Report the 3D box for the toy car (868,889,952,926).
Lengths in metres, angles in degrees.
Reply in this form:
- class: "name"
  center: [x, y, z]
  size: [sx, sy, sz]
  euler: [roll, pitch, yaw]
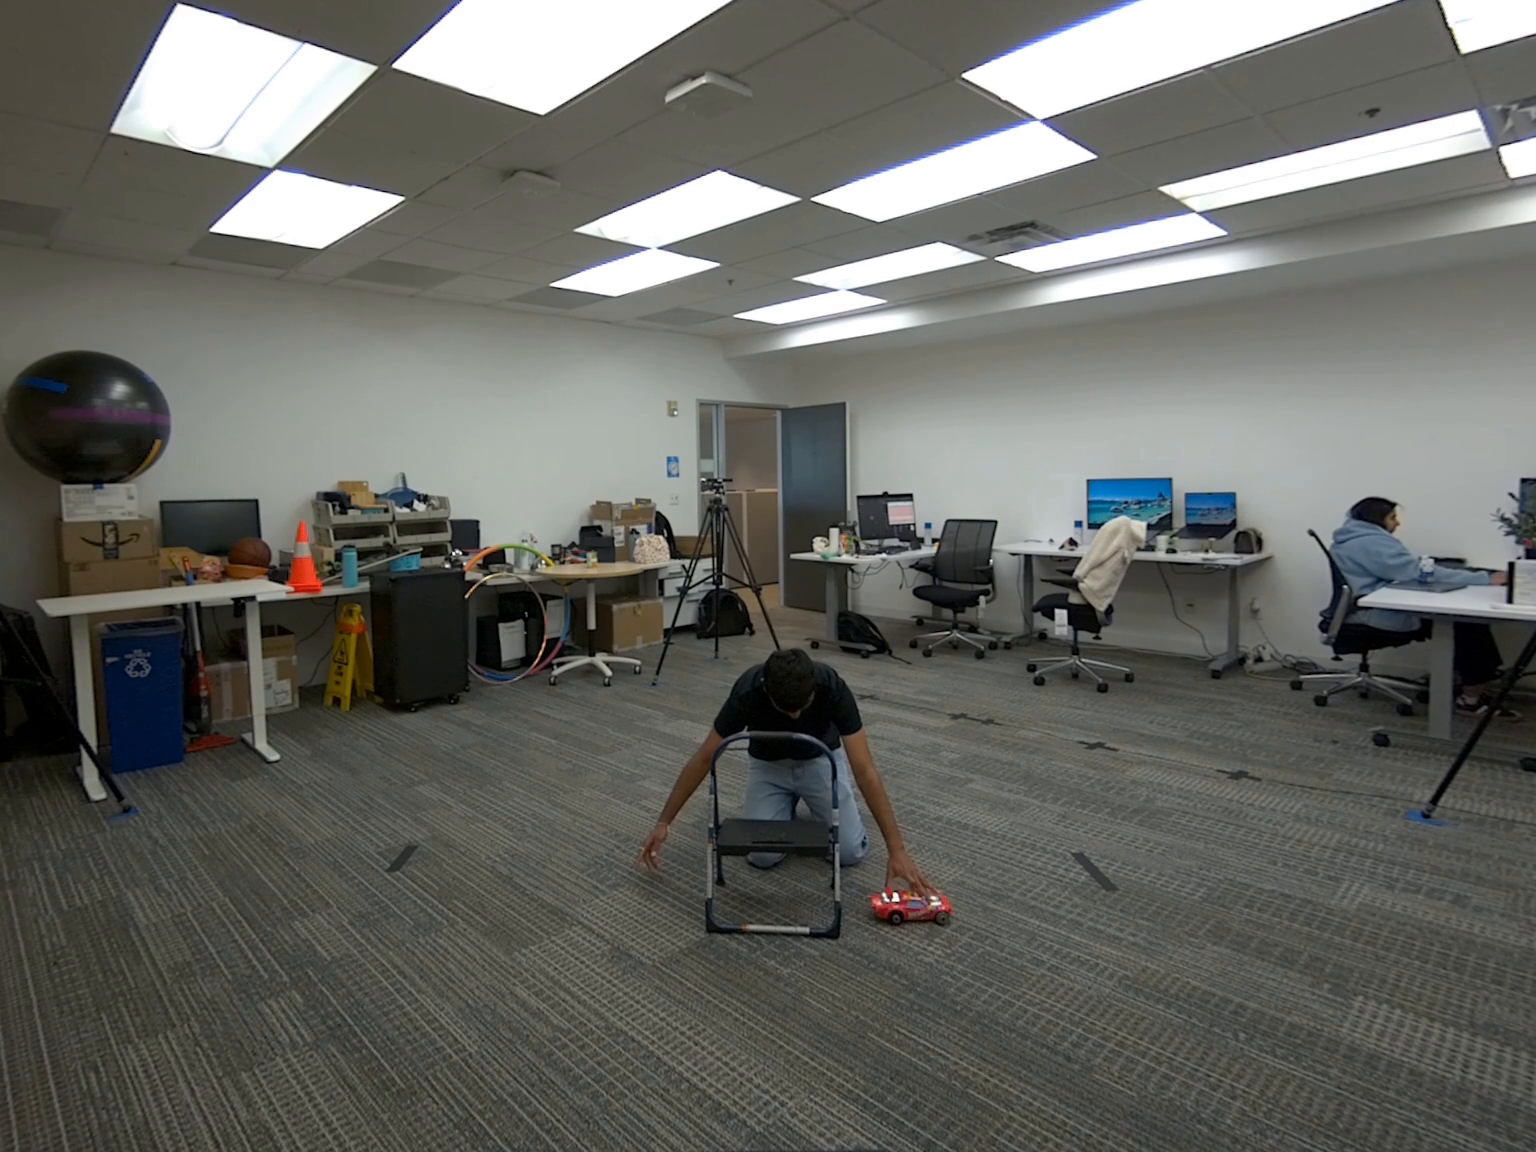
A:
- class: "toy car"
  center: [0.437, 1.048, 2.703]
  size: [0.254, 0.083, 0.131]
  euler: [10, 5, -1]
